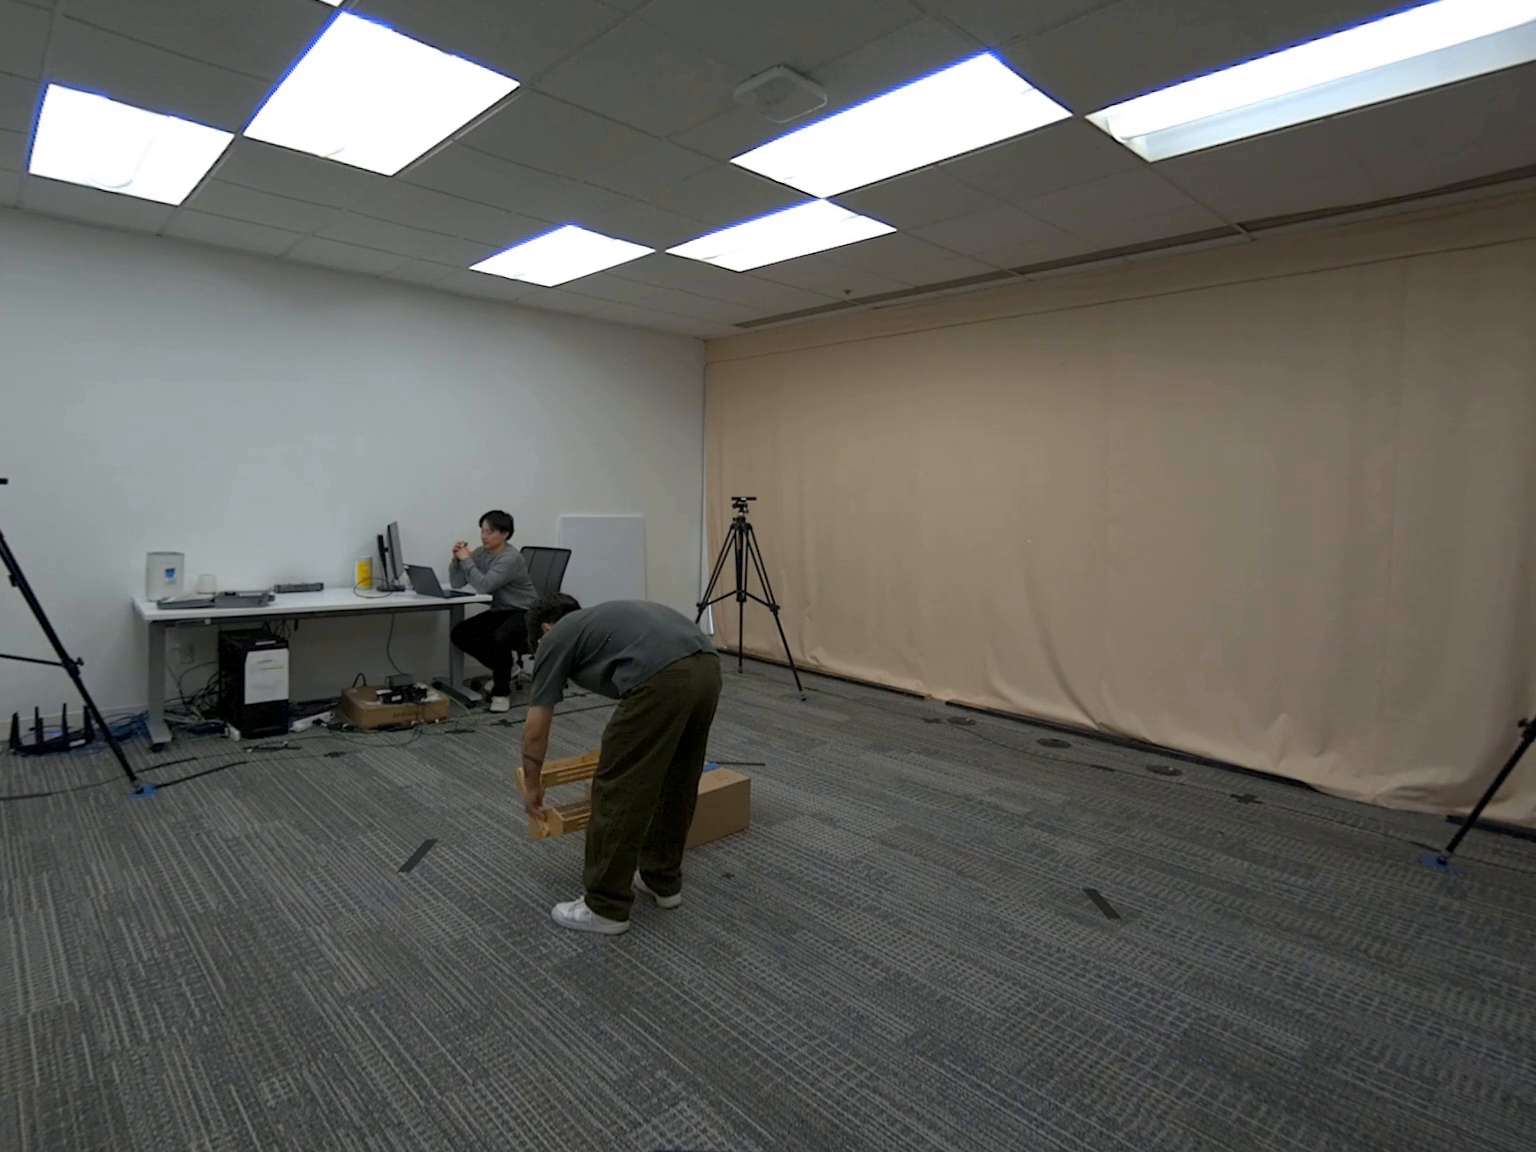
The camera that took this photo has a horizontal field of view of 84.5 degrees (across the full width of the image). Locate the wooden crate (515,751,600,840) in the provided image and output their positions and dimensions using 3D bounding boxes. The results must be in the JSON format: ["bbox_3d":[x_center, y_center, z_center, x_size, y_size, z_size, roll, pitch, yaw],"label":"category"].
[{"bbox_3d":[-0.702,0.784,3.057,0.317,0.277,0.305,-2,-17,-41],"label":"wooden crate"}]
